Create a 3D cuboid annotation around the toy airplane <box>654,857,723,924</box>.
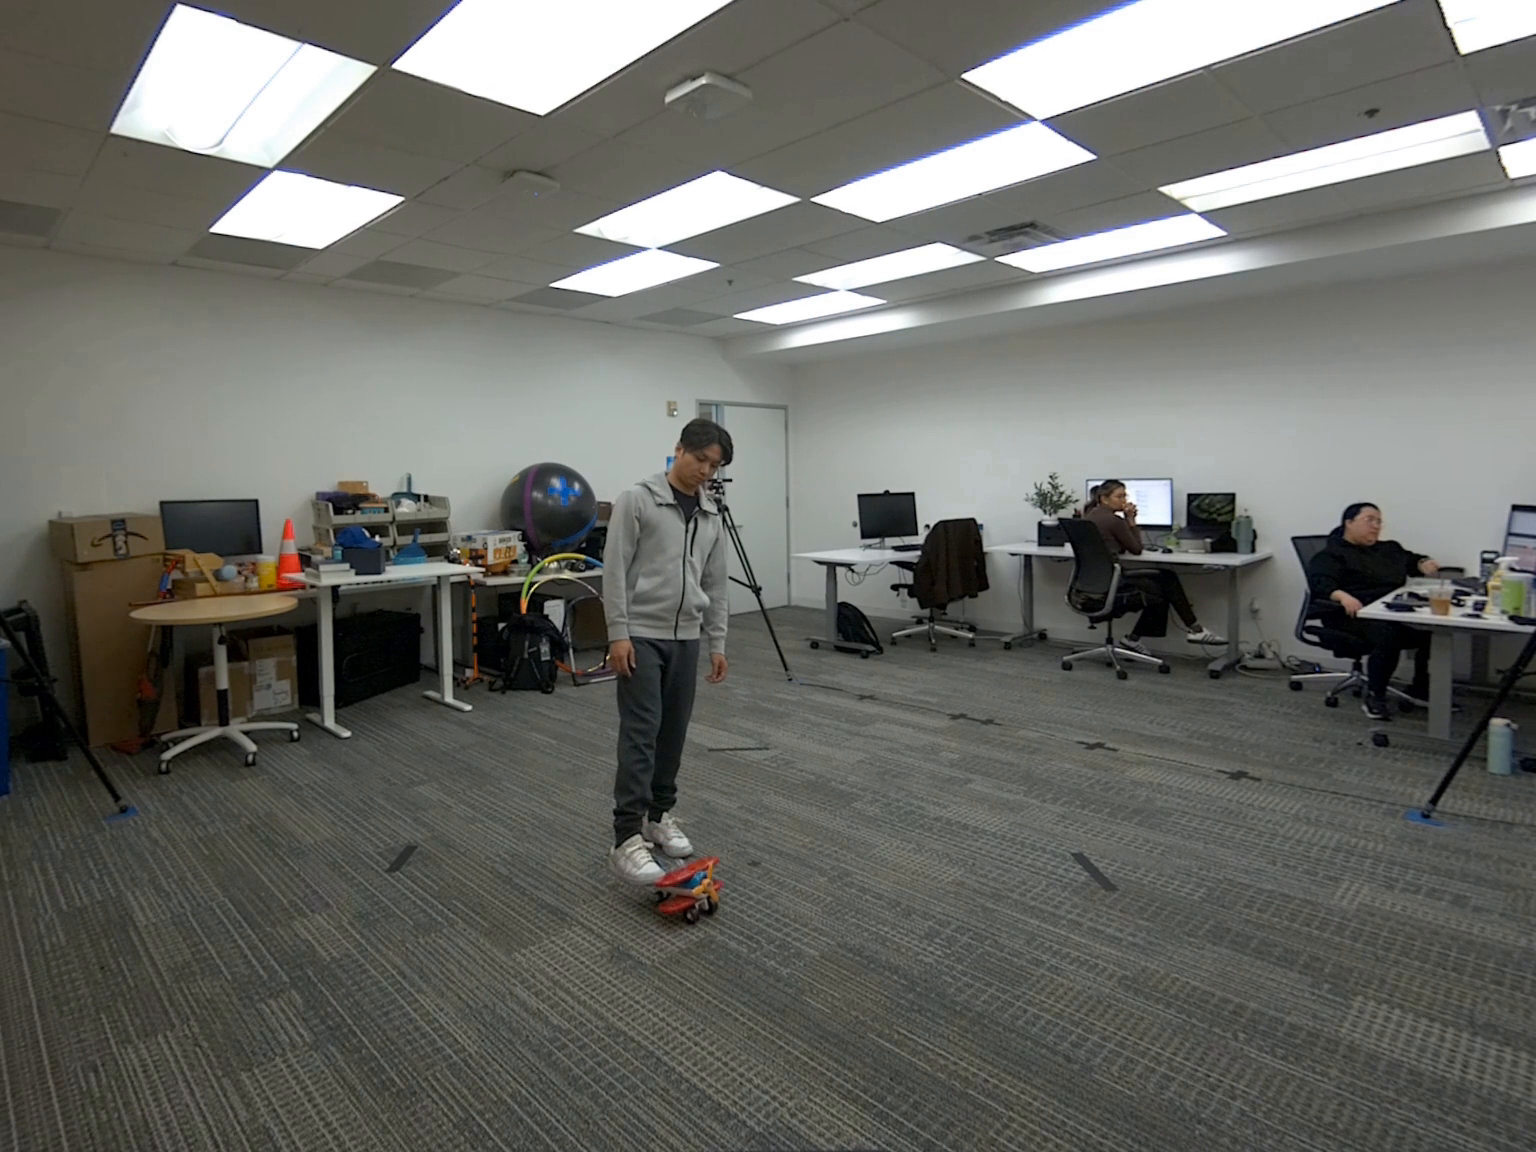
[{"bbox_3d":[-0.287,1.012,2.767,0.263,0.155,0.249,3,7,13],"label":"toy airplane"}]
